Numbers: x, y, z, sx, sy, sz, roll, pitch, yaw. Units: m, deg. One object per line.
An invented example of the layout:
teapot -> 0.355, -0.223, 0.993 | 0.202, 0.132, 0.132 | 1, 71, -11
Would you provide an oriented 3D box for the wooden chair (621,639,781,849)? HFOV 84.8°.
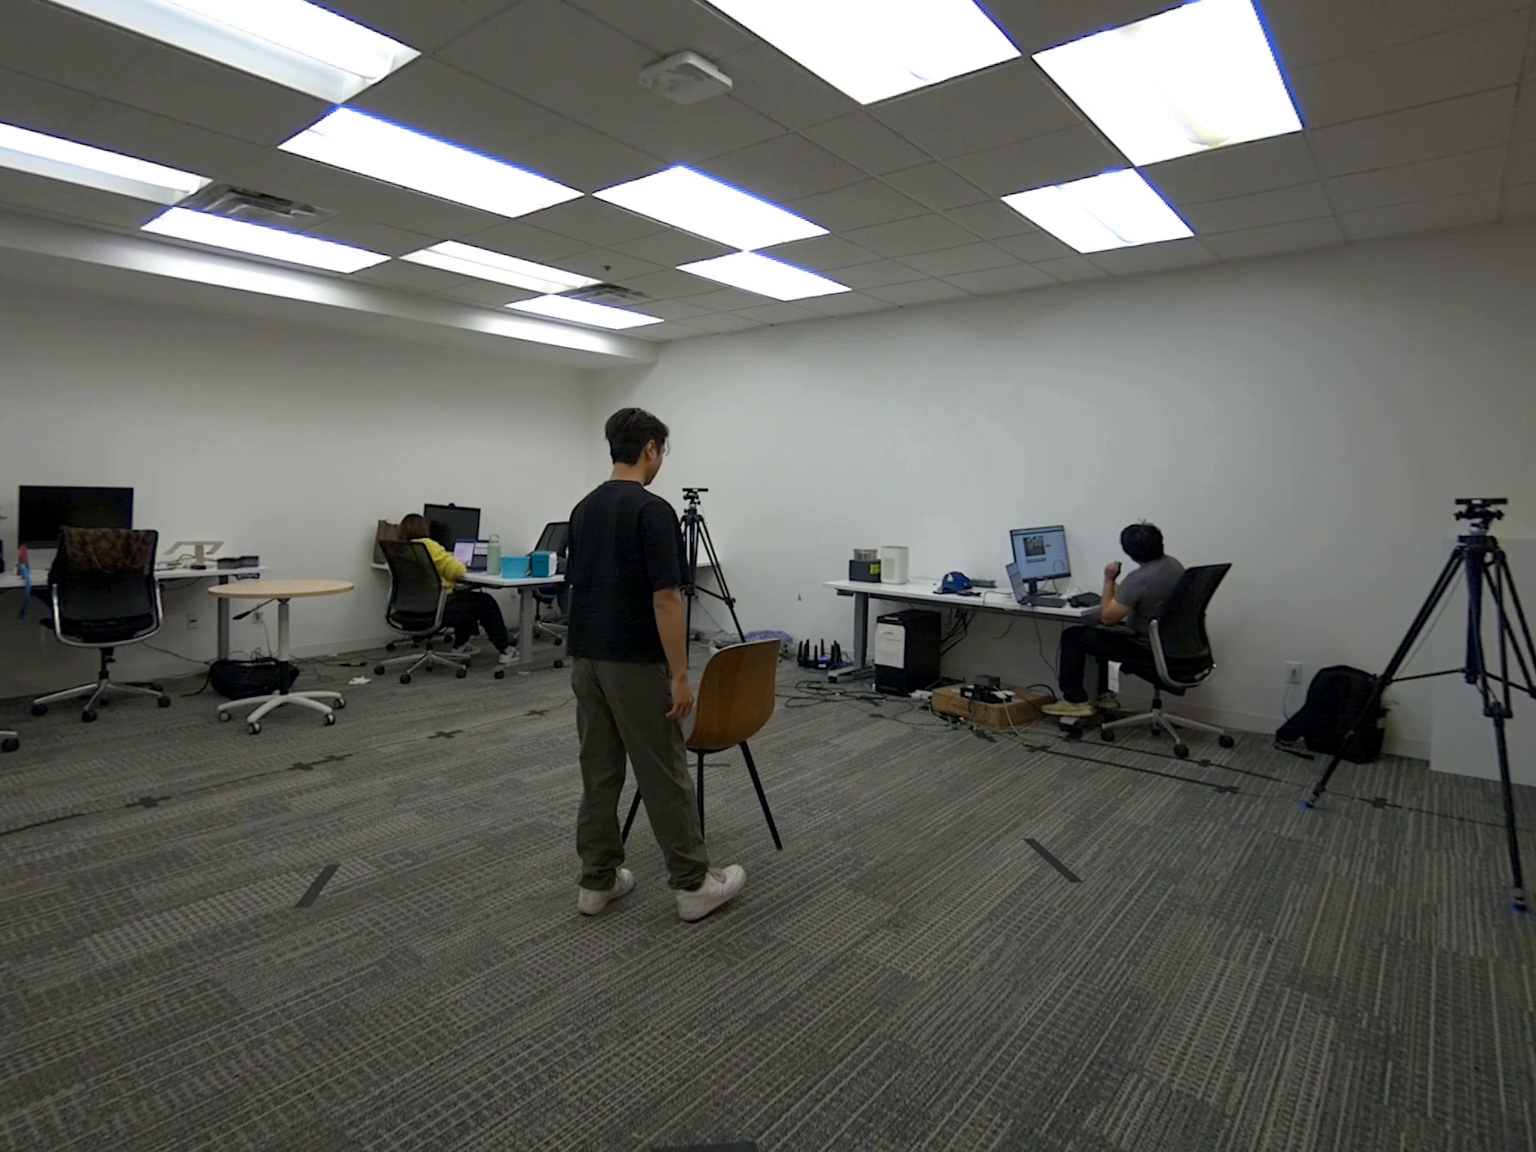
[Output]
wooden chair -> -0.265, 0.626, 3.271 | 0.542, 0.872, 0.464 | 10, 8, 41
